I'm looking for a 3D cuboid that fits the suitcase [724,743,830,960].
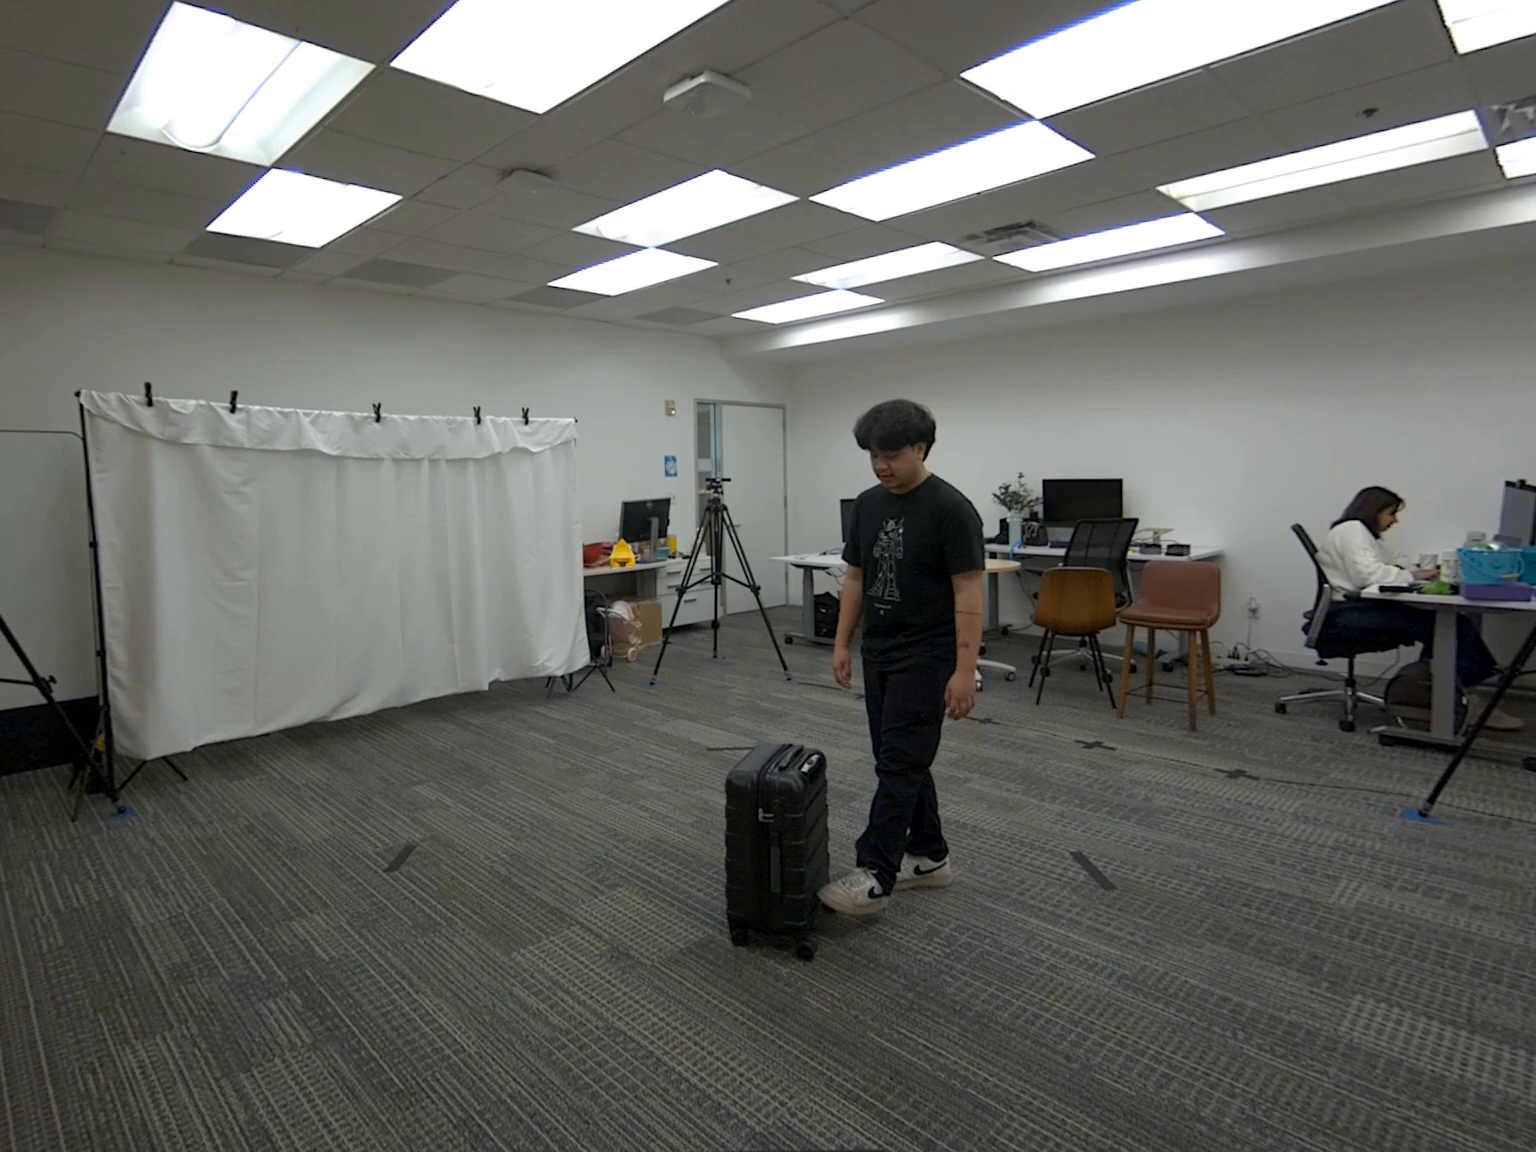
[{"bbox_3d":[0.041,0.818,2.645,0.253,0.547,0.369,-1,5,21],"label":"suitcase"}]
